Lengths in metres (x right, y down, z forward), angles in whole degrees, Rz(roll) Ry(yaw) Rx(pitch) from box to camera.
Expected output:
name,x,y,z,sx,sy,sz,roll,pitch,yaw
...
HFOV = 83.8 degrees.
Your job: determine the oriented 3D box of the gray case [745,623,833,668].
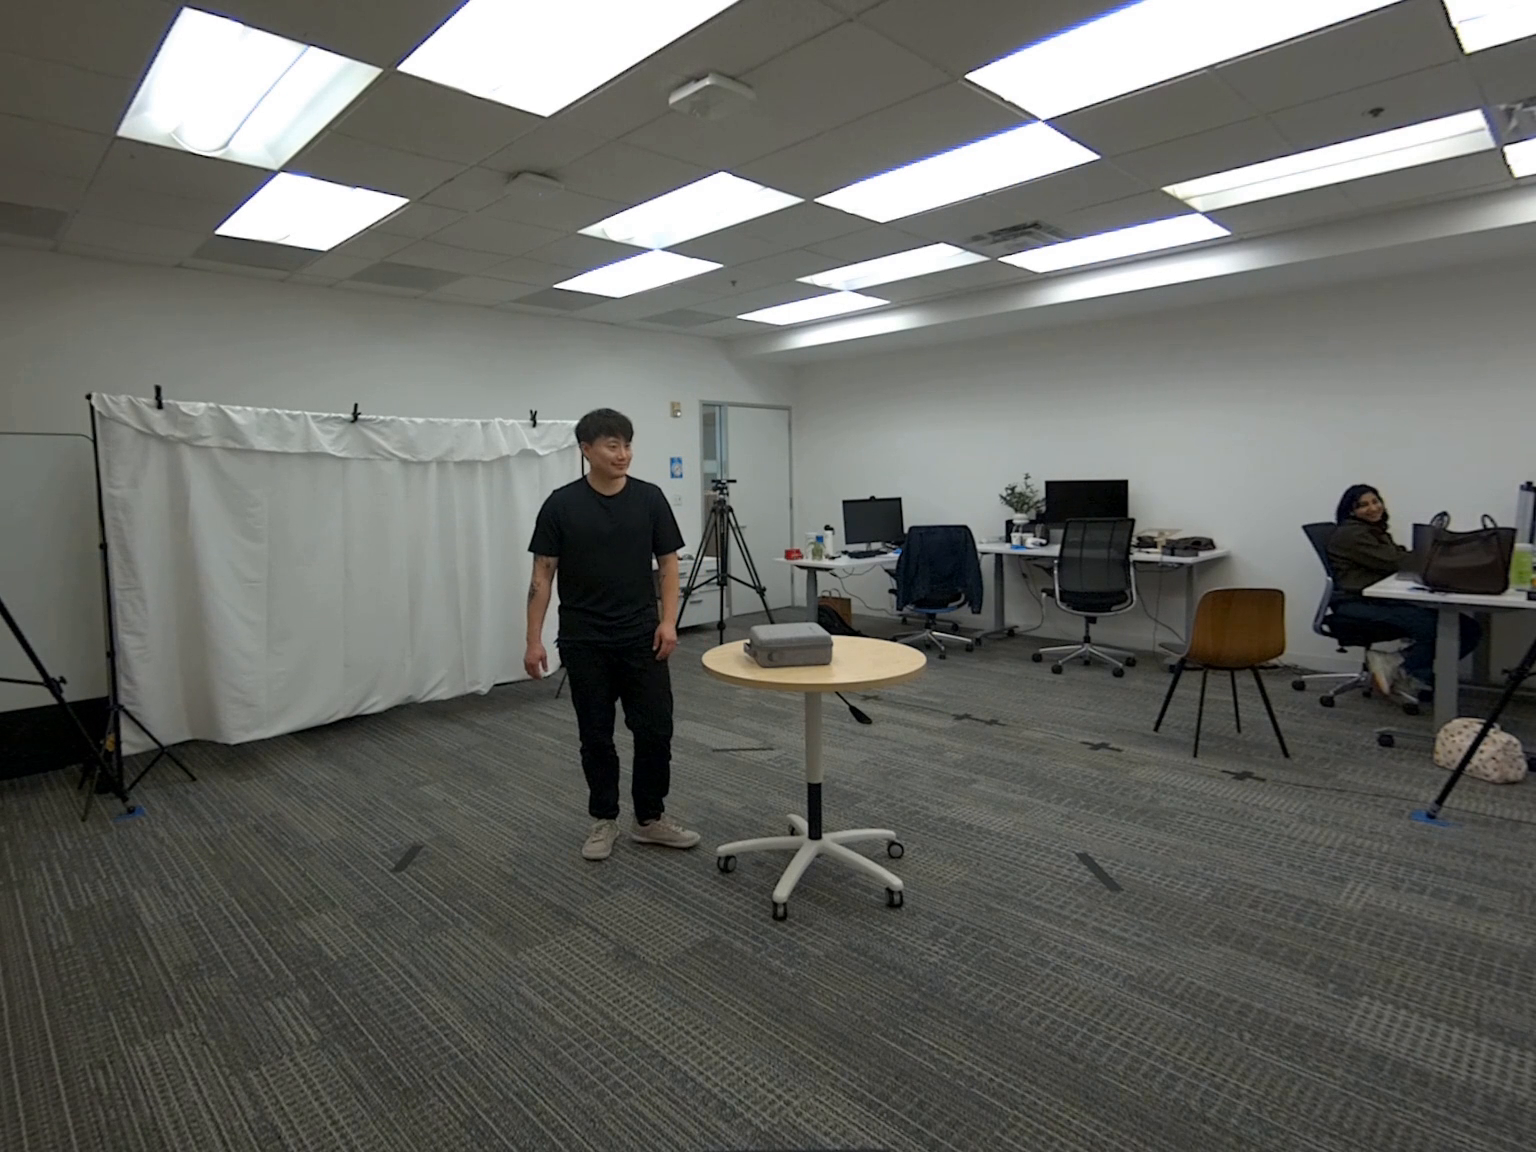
name,x,y,z,sx,sy,sz,roll,pitch,yaw
gray case,0.063,0.234,2.904,0.259,0.104,0.260,-3,8,-7
